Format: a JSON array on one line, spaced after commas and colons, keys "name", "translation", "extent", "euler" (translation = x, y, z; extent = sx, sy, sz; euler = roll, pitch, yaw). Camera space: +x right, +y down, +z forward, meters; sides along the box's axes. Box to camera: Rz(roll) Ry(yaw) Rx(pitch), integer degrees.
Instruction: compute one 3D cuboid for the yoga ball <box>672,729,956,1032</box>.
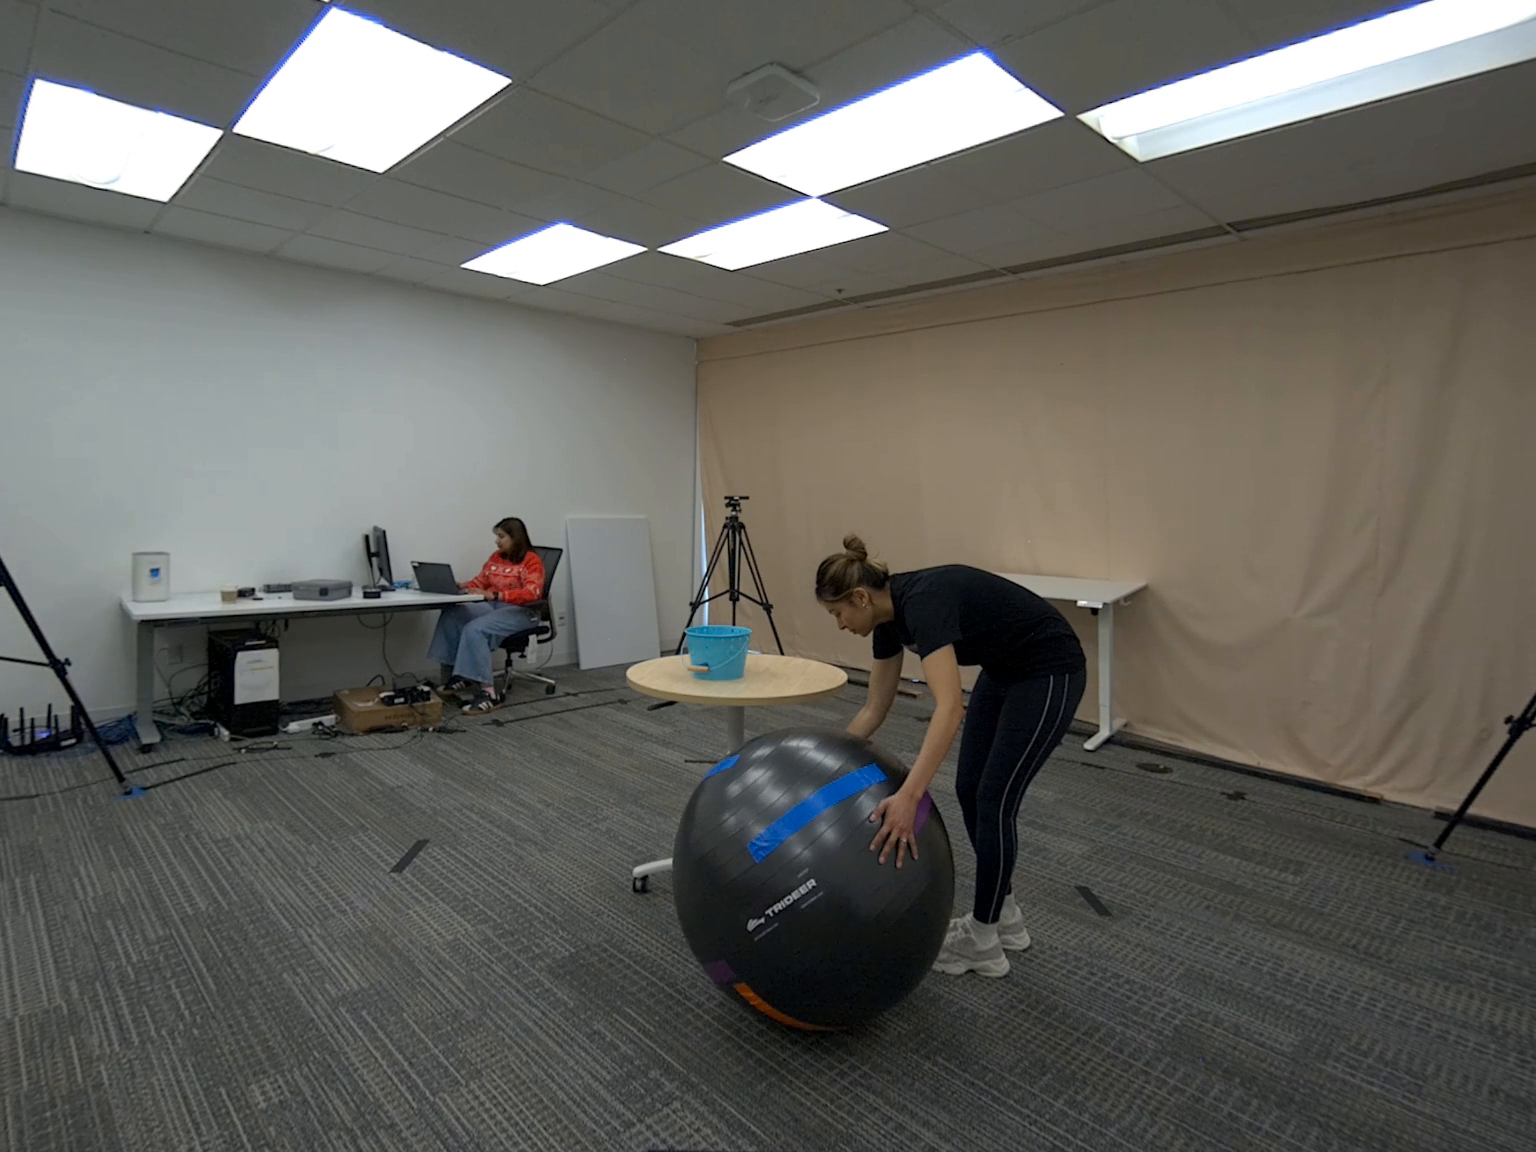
[{"name": "yoga ball", "translation": [0.110, 0.808, 2.270], "extent": [0.757, 0.756, 0.761], "euler": [1, 4, -1]}]
